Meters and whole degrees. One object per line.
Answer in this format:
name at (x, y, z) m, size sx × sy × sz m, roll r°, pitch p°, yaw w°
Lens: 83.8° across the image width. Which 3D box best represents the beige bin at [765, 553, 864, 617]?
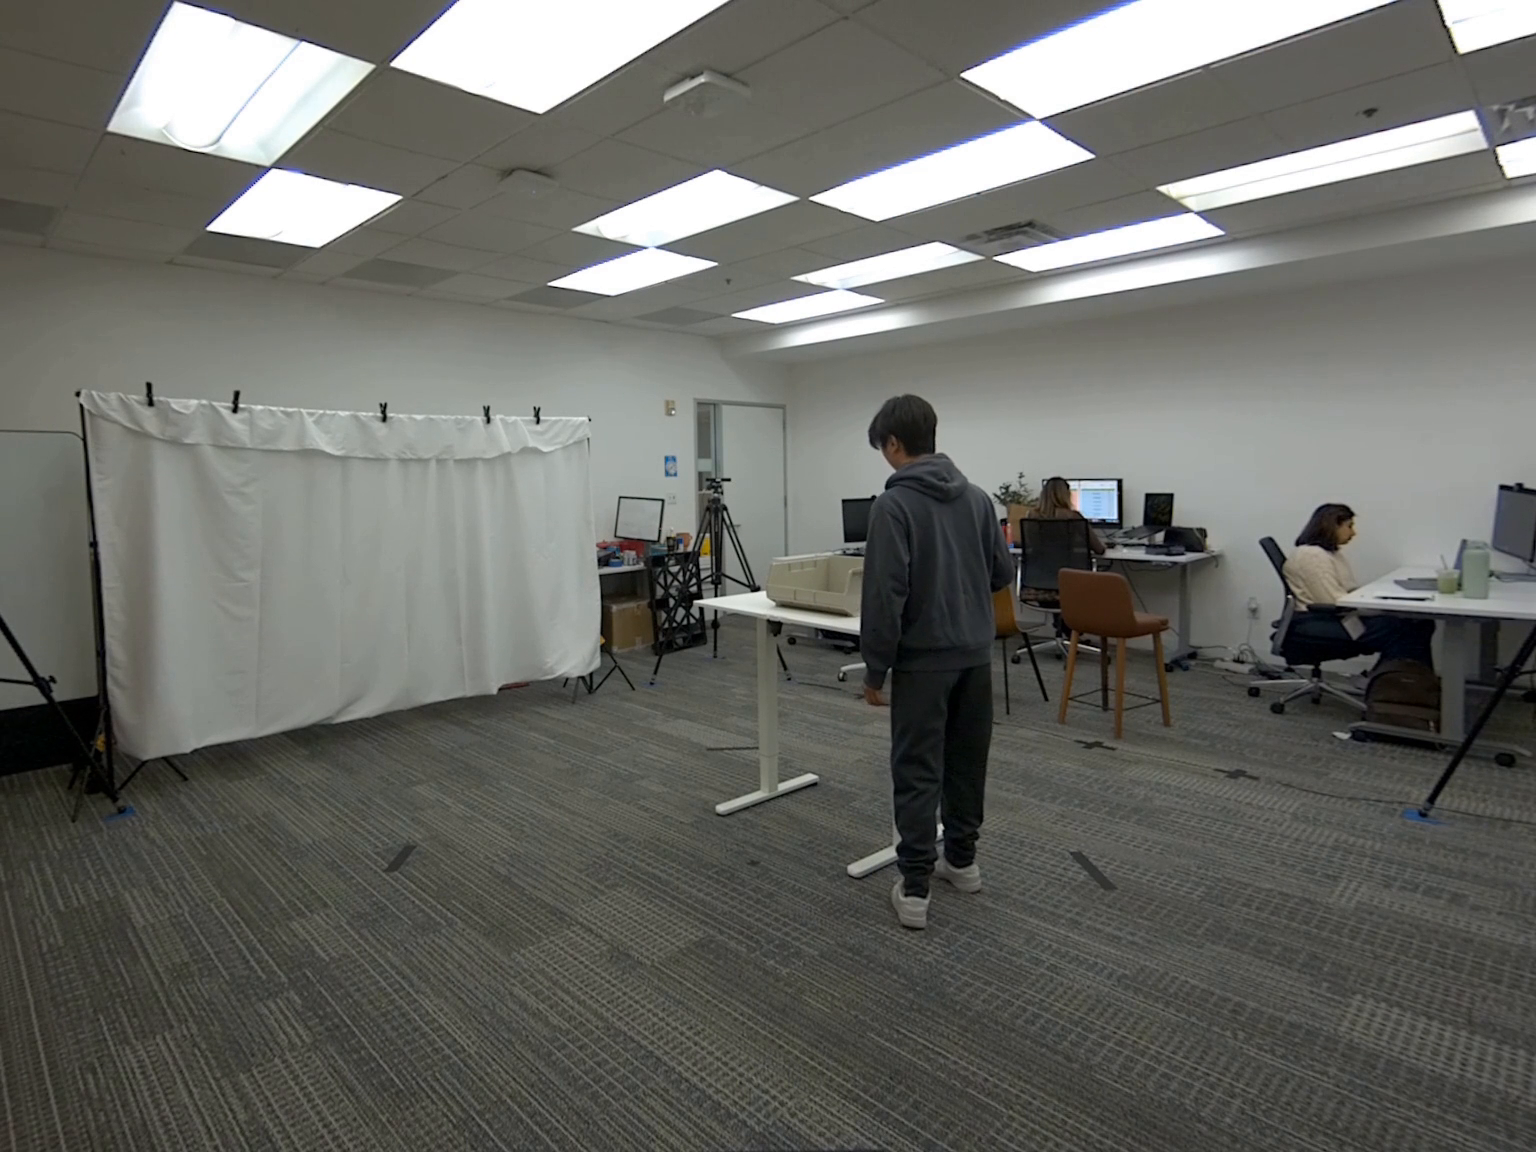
beige bin at (0.272, 0.034, 3.368) m, size 0.367 × 0.188 × 0.435 m, roll -6°, pitch 8°, yaw -43°
